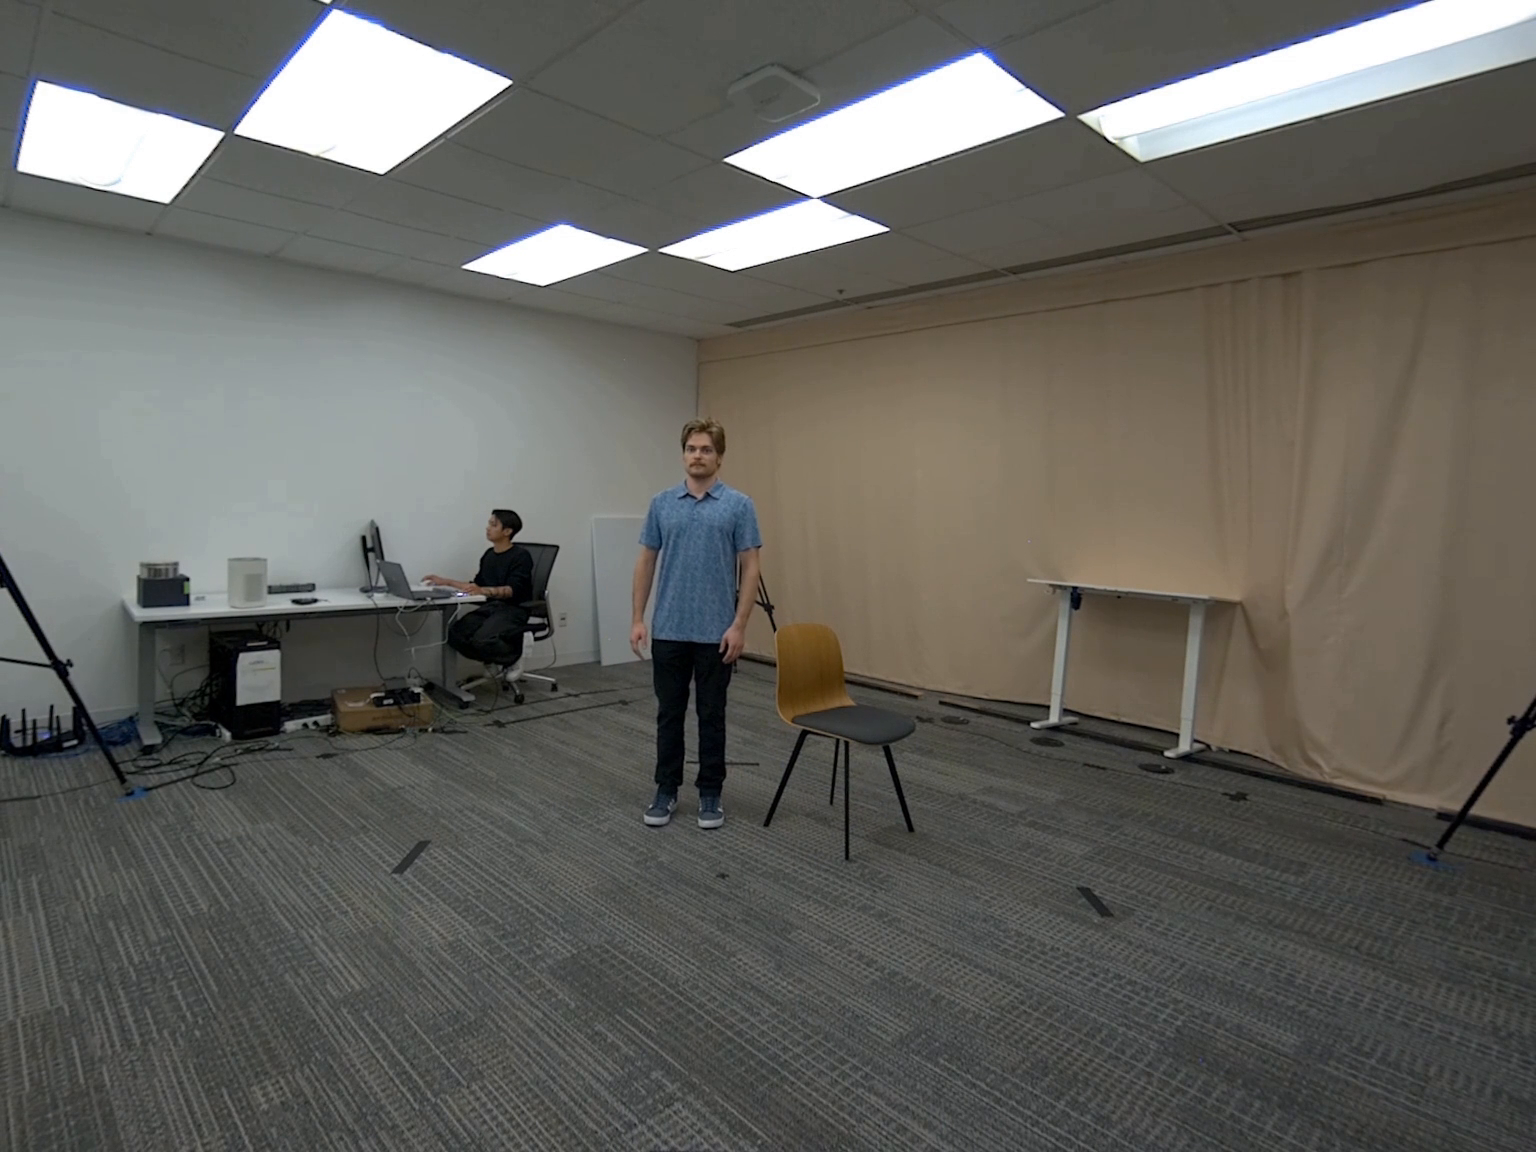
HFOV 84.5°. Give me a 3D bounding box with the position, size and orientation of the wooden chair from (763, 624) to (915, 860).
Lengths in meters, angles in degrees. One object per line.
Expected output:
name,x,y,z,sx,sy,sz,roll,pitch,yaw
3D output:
wooden chair,0.306,0.650,3.540,0.467,0.878,0.535,-1,-1,-45
